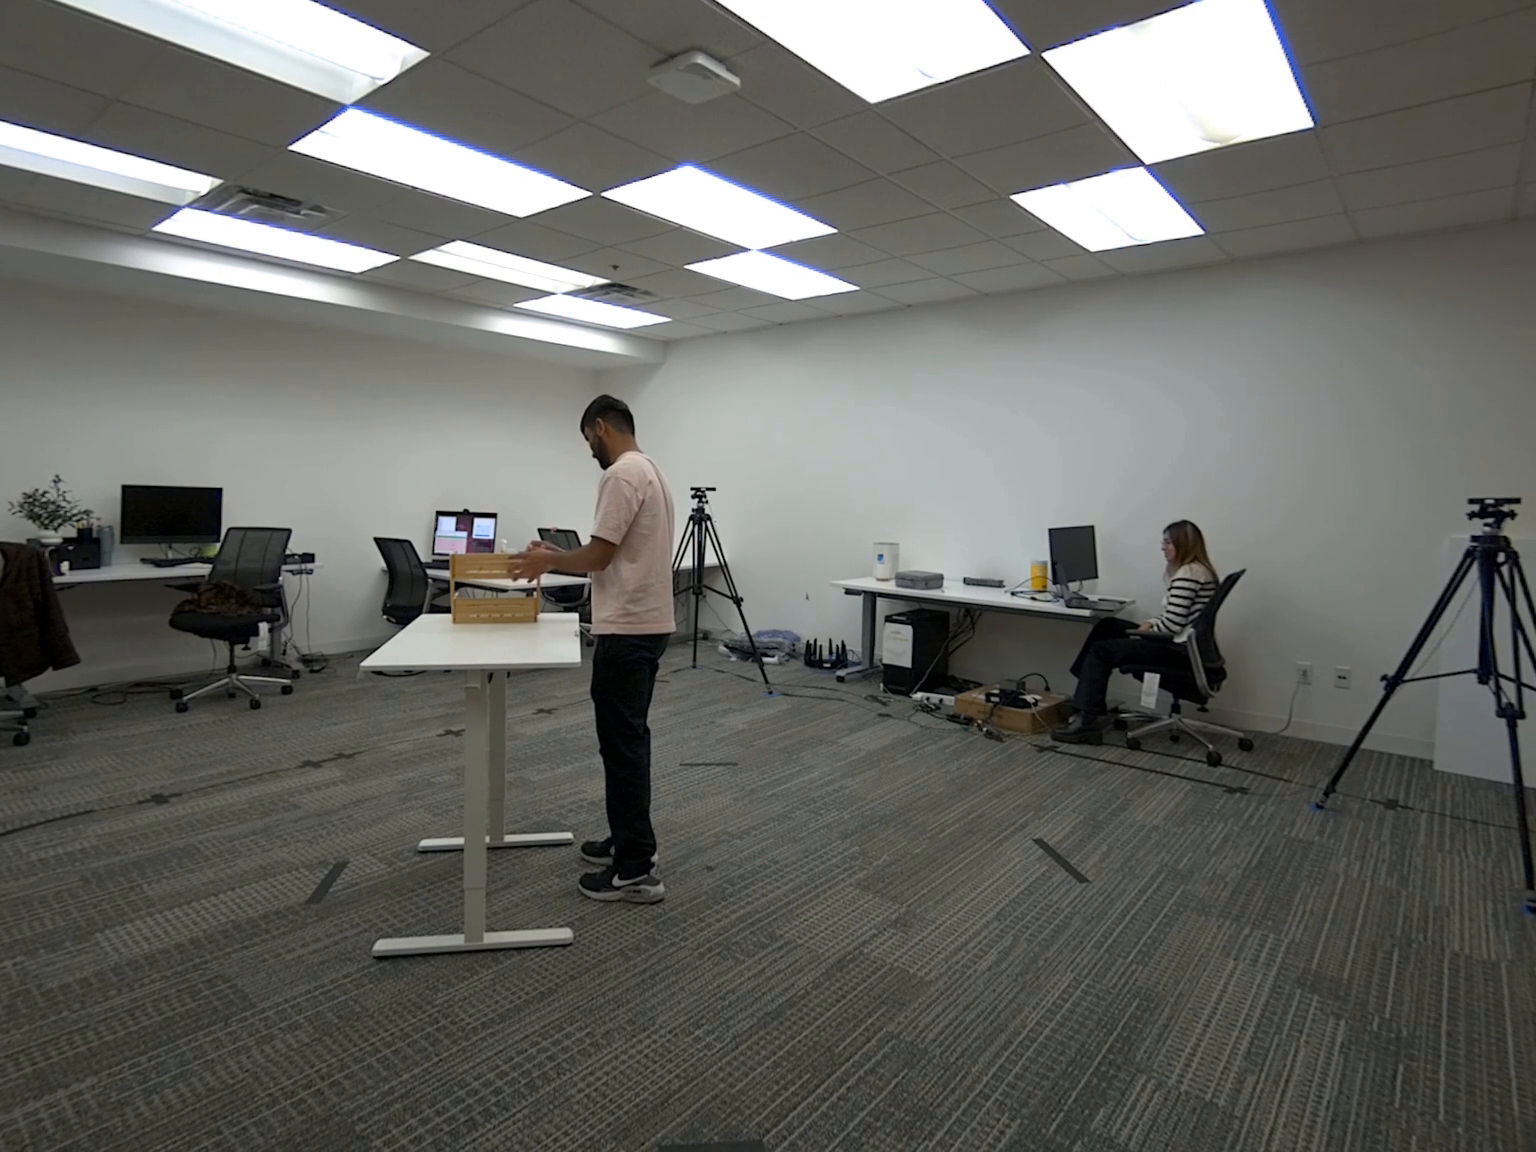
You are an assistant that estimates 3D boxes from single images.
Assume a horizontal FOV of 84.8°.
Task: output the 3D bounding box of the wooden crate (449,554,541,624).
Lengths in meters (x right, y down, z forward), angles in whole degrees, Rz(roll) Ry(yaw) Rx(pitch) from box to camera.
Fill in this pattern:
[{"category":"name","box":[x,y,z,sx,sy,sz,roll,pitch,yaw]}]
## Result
[{"category":"wooden crate","box":[-1.050,0.032,3.230,0.320,0.272,0.307,0,5,-13]}]
